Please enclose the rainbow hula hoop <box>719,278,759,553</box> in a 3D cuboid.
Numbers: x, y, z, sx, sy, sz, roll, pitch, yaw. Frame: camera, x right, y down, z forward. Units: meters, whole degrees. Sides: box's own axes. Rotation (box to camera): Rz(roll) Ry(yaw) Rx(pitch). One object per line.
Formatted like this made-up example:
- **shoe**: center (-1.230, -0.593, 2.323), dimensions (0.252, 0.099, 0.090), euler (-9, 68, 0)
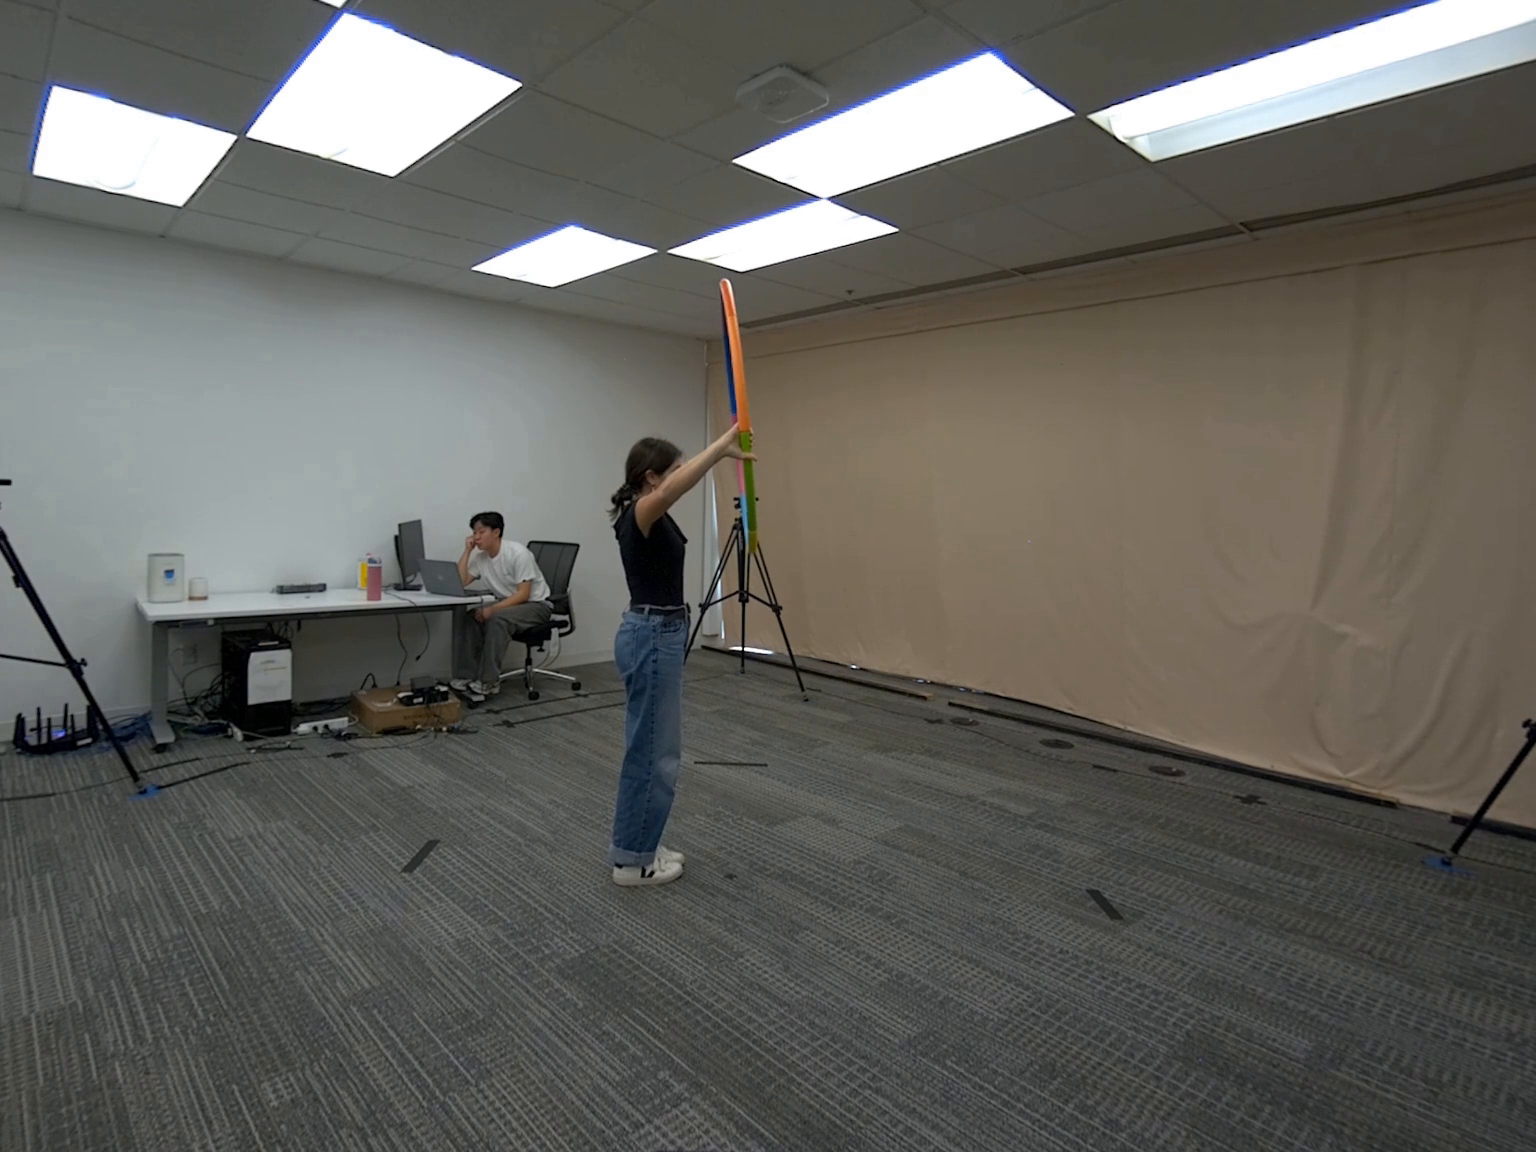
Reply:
- **rainbow hula hoop**: center (-0.113, -0.561, 3.044), dimensions (0.035, 0.976, 0.982), euler (-7, 4, -2)
